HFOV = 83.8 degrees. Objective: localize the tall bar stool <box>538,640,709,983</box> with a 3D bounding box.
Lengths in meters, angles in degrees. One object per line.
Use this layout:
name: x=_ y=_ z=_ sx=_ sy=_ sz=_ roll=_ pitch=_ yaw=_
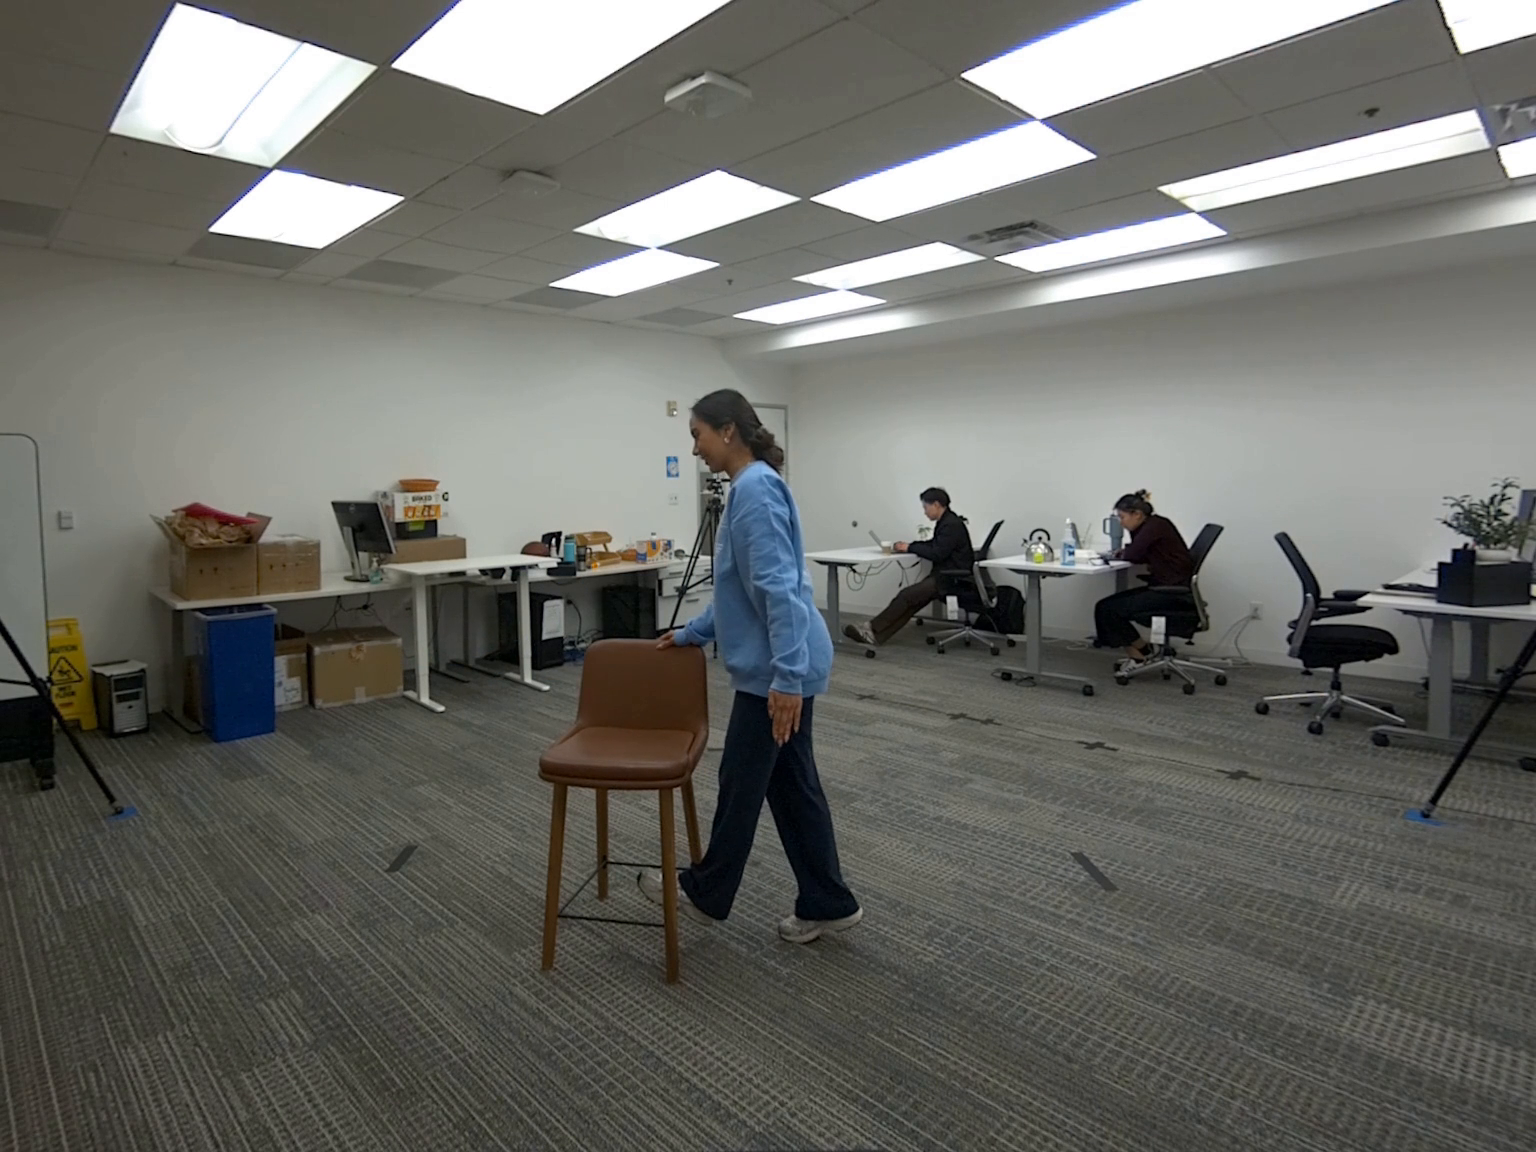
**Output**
tall bar stool: x=-0.423 y=0.677 z=2.608 sx=0.462 sy=0.887 sz=0.463 roll=0 pitch=3 yaw=11
